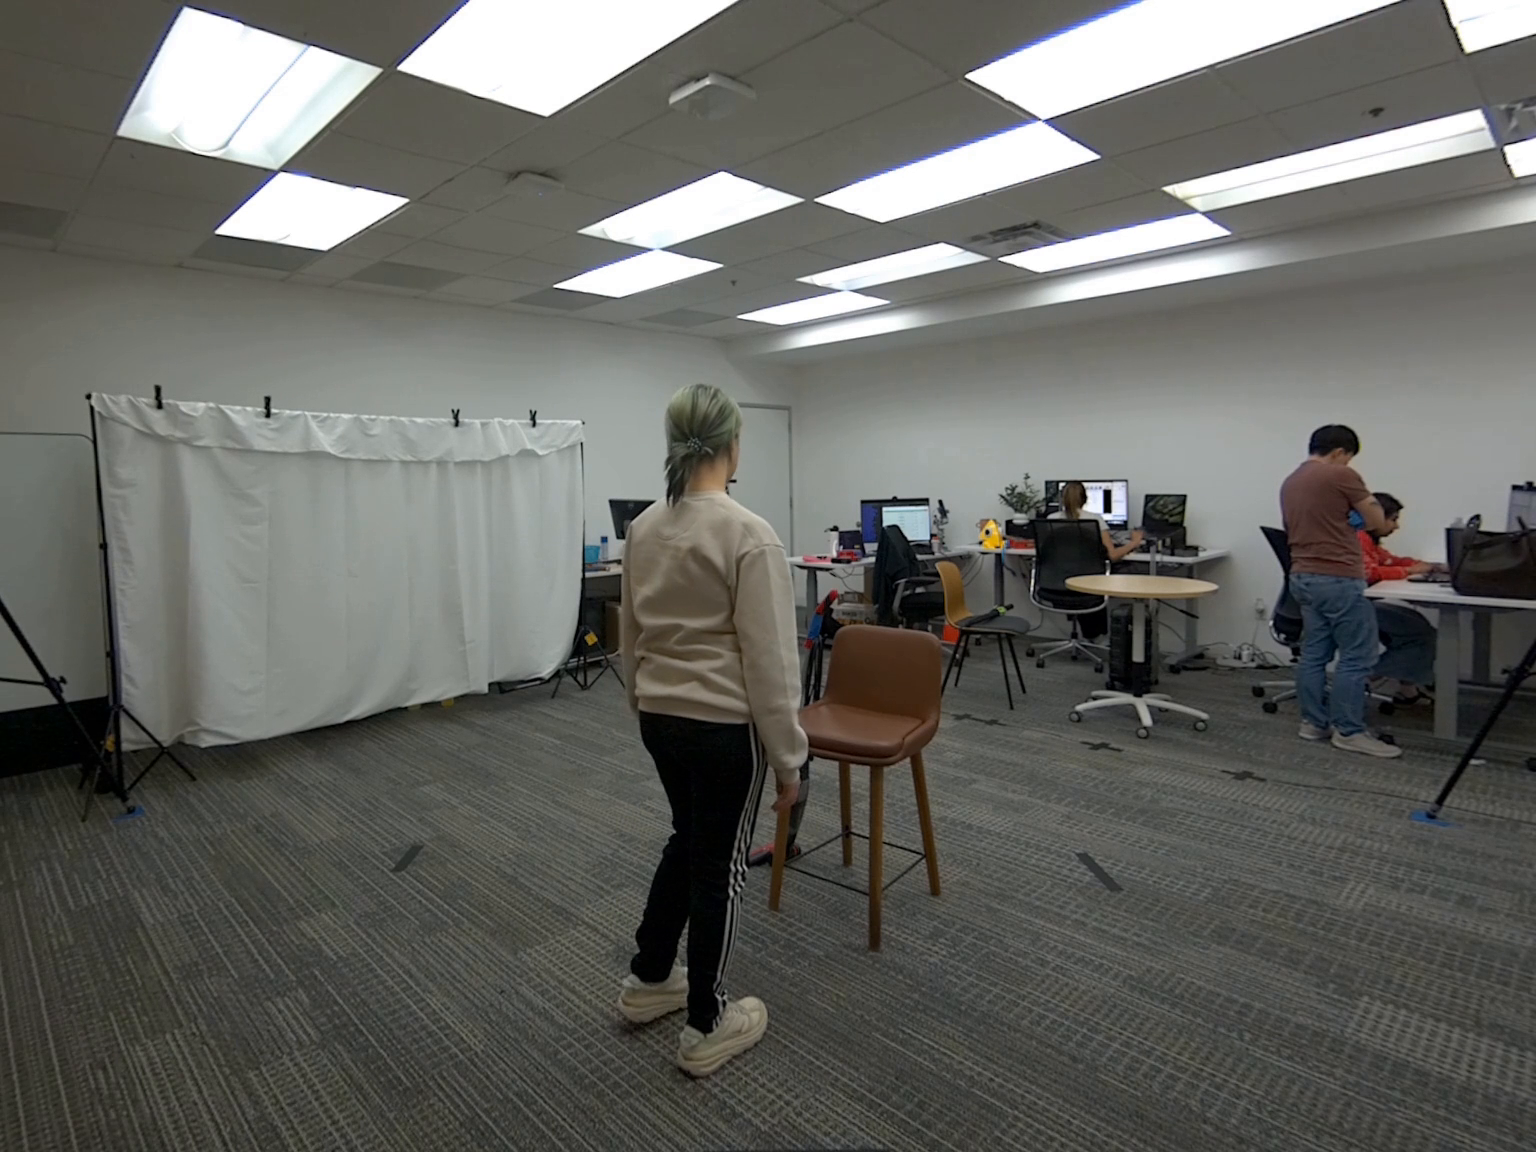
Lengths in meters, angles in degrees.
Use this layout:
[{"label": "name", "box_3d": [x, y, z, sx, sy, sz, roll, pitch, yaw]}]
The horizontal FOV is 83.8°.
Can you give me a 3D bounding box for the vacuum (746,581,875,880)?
[{"label": "vacuum", "box_3d": [0.130, 0.543, 3.027, 0.246, 1.038, 0.149, -2, 19, -40]}]
